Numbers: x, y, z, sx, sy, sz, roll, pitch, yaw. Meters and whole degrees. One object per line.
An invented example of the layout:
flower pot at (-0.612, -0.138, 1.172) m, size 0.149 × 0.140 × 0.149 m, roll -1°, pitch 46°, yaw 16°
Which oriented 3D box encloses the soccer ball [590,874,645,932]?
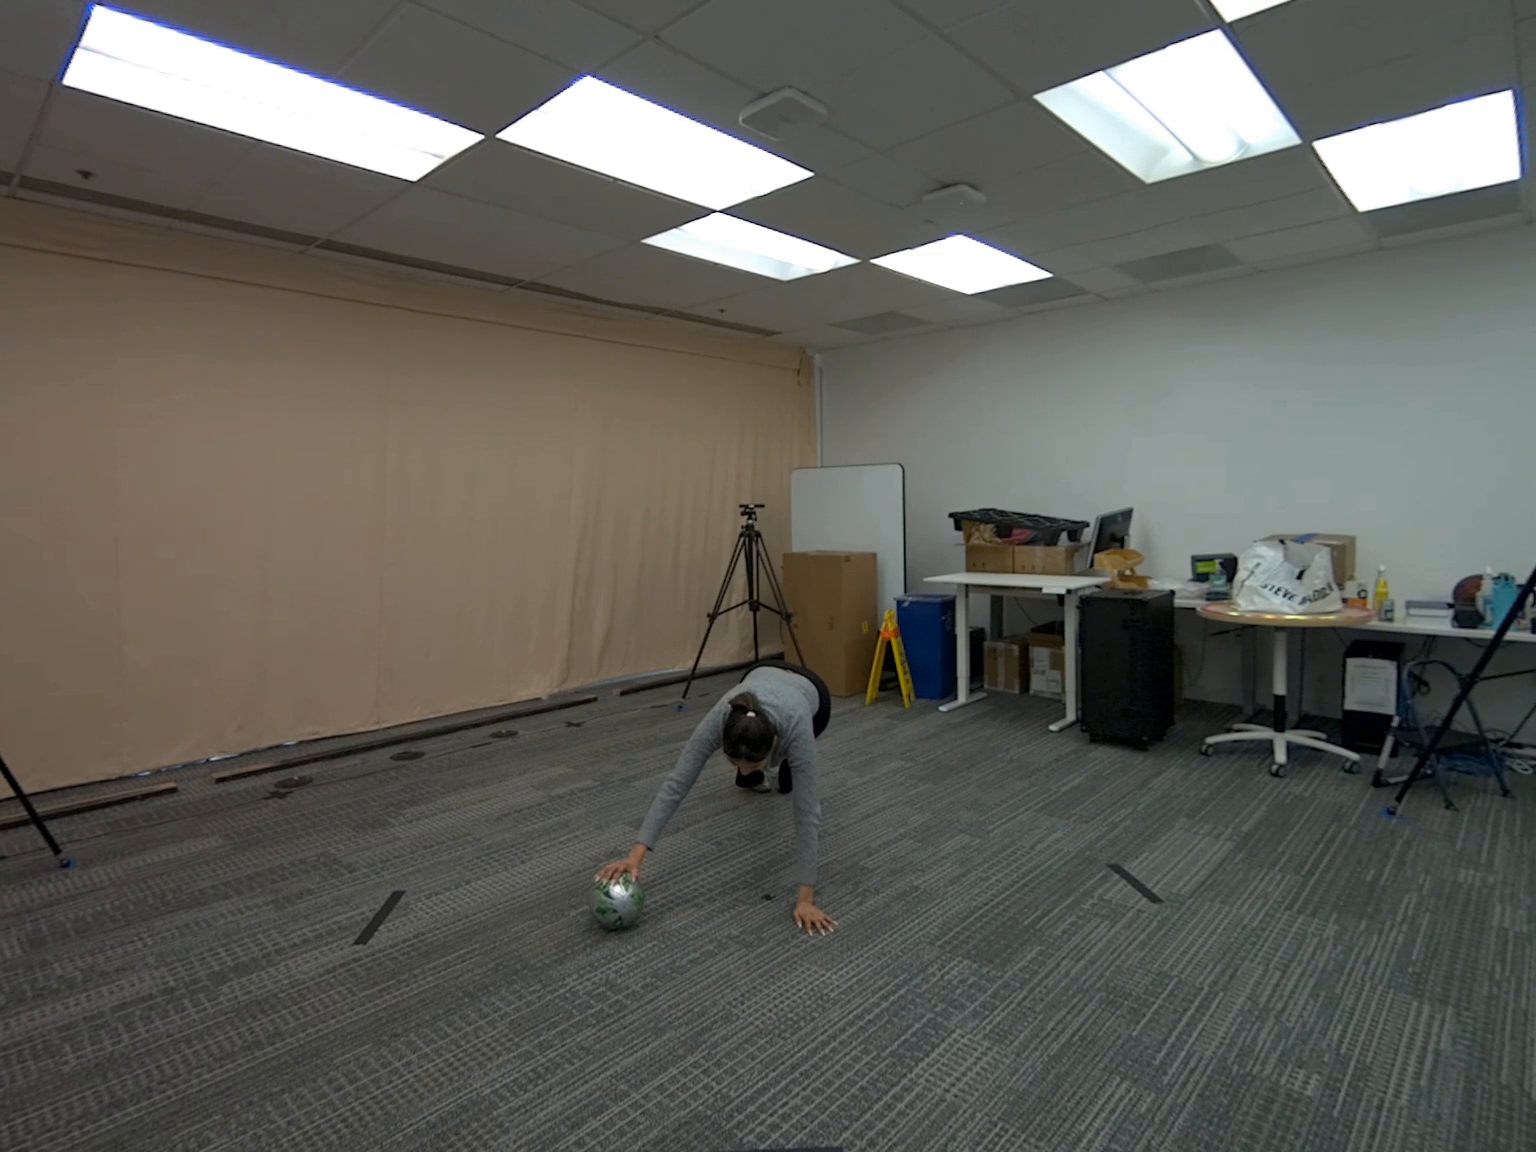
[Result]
soccer ball at (-0.502, 1.077, 2.796) m, size 0.187 × 0.187 × 0.188 m, roll -1°, pitch 4°, yaw -2°
